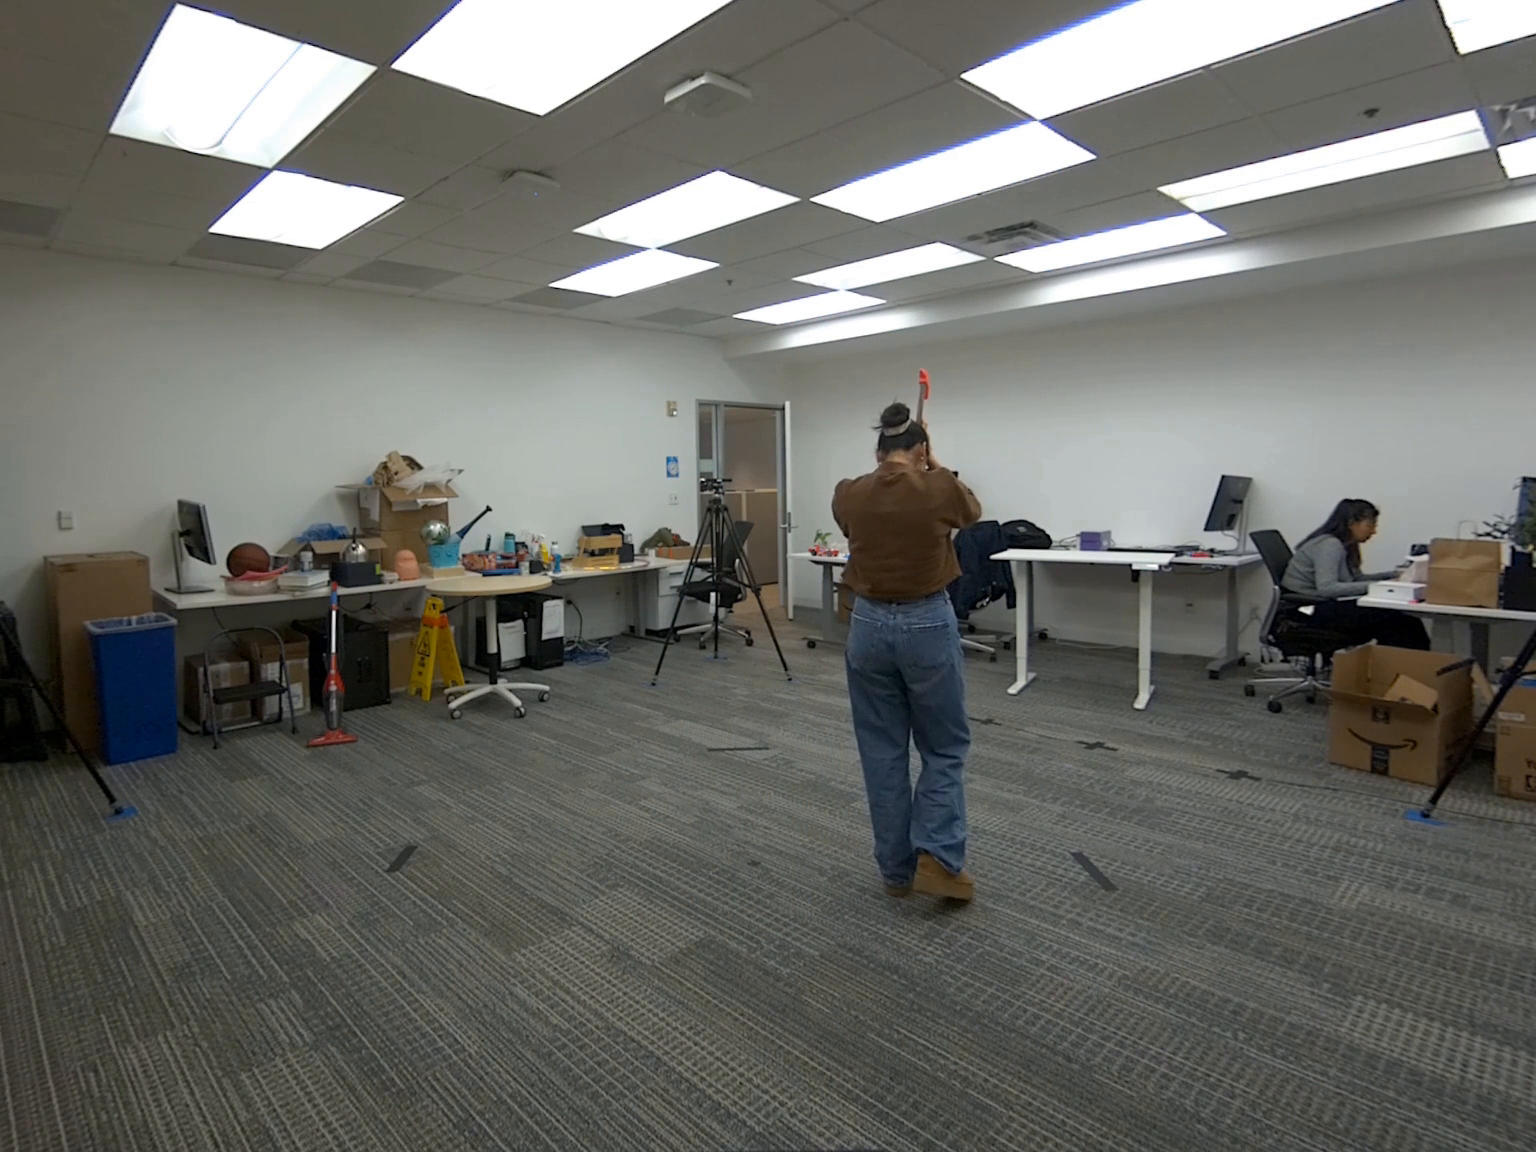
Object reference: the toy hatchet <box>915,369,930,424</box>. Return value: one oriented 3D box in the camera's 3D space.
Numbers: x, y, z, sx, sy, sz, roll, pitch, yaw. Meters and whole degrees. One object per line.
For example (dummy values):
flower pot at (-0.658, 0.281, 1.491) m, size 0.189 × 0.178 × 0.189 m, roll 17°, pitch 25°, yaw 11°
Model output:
toy hatchet at (0.572, -0.615, 3.101) m, size 0.030 × 0.271 × 0.128 m, roll 3°, pitch -5°, yaw 17°
